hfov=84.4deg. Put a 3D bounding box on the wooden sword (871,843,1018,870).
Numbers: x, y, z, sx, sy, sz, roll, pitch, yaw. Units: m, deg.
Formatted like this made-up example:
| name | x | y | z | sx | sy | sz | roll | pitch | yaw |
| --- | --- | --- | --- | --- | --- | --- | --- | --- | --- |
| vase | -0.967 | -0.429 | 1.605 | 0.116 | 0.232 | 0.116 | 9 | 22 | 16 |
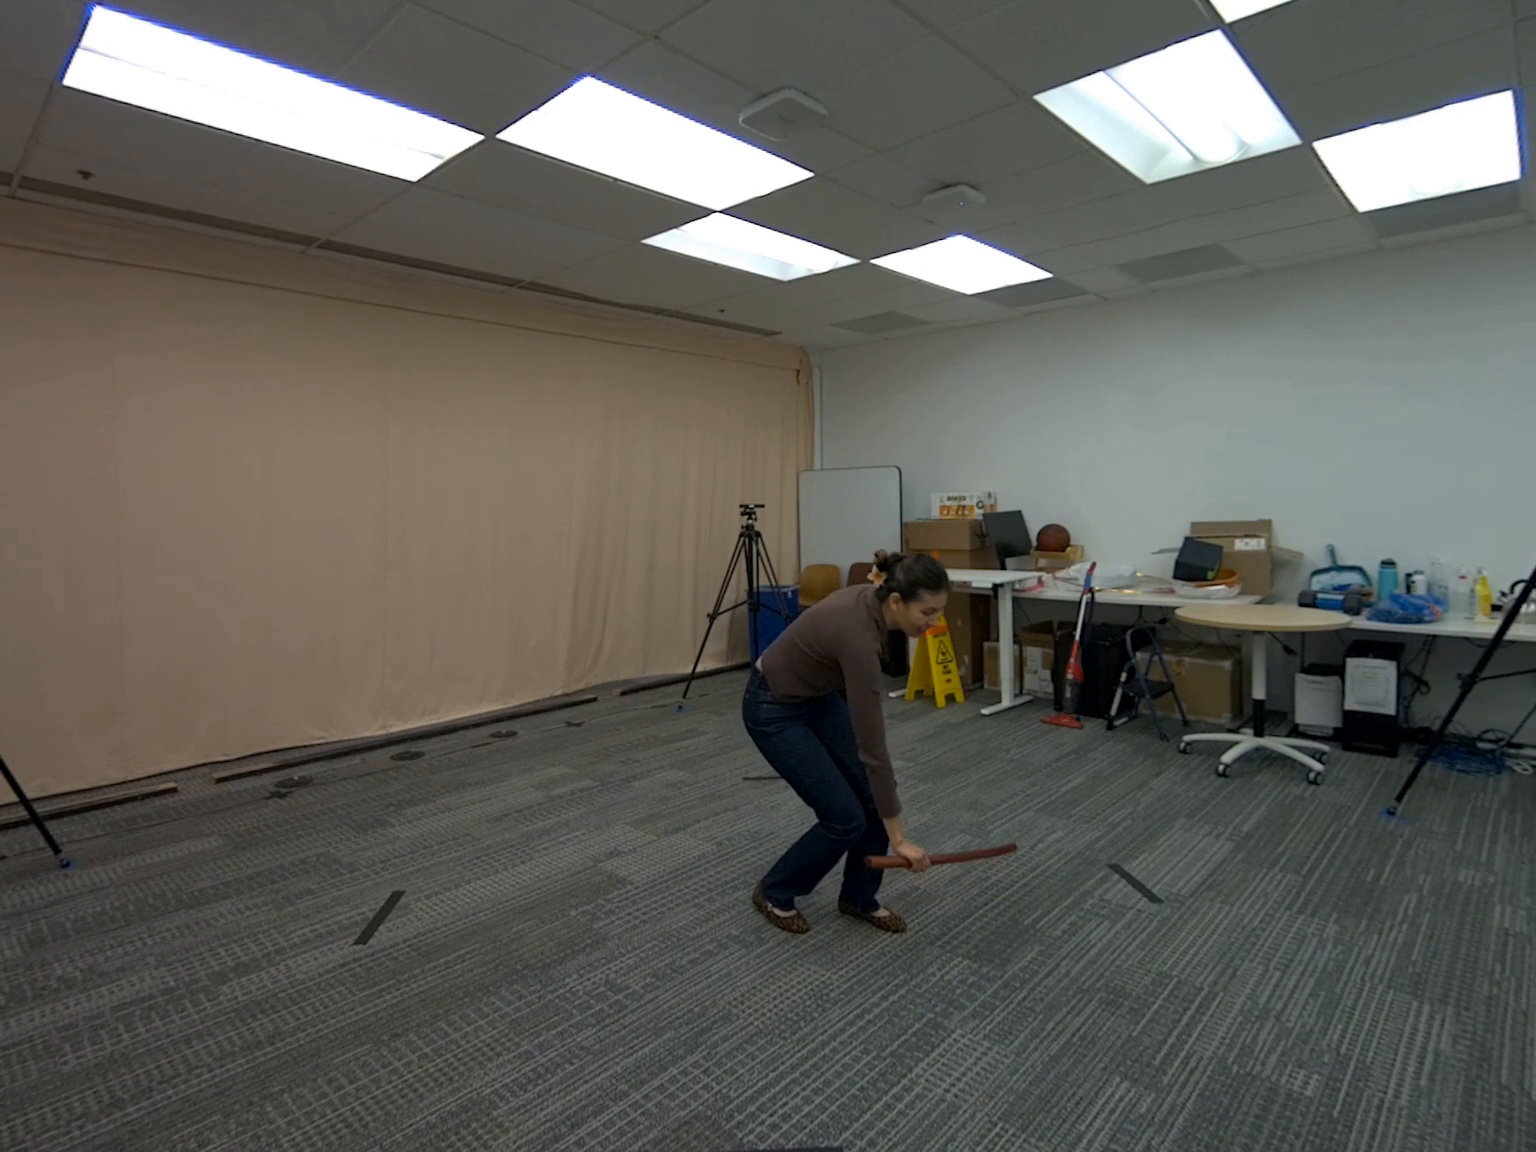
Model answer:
| name | x | y | z | sx | sy | sz | roll | pitch | yaw |
| --- | --- | --- | --- | --- | --- | --- | --- | --- | --- |
| wooden sword | 0.637 | 0.911 | 2.741 | 0.988 | 0.024 | 0.053 | 17 | 25 | -50 |
